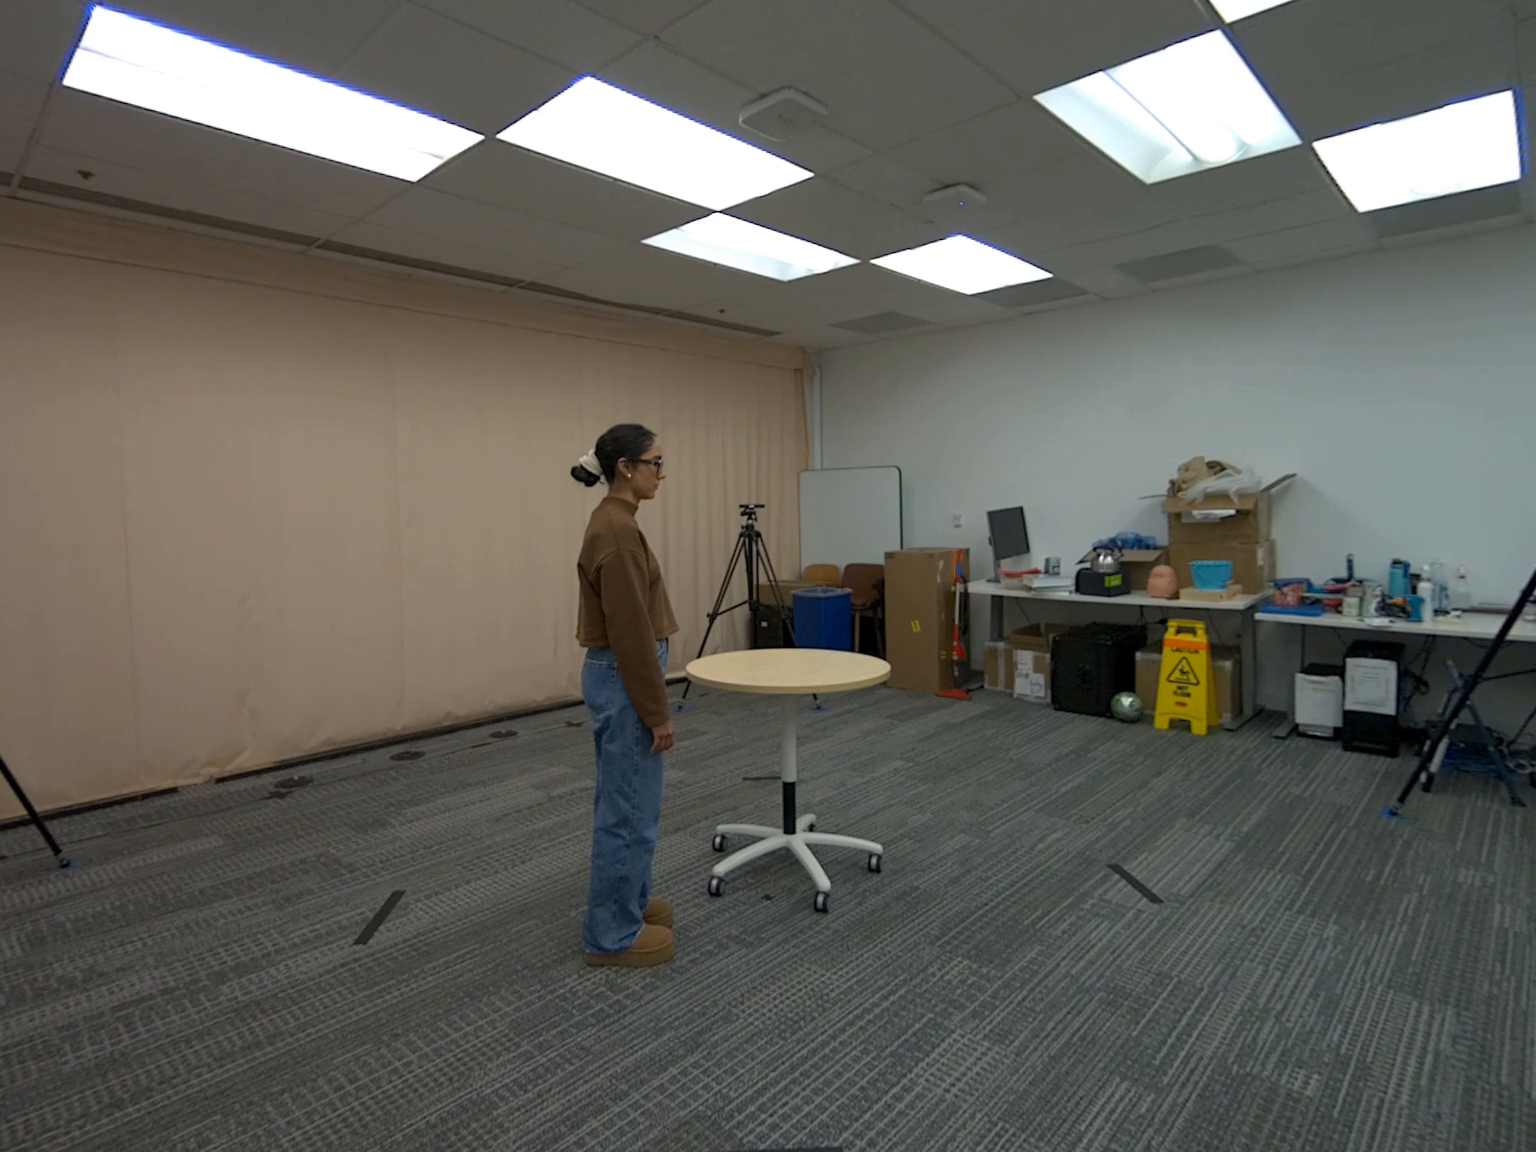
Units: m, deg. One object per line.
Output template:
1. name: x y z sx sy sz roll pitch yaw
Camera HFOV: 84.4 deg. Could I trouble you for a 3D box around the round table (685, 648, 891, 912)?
1. round table: 0.084 0.729 3.179 0.784 0.785 0.787 -1 3 -2
